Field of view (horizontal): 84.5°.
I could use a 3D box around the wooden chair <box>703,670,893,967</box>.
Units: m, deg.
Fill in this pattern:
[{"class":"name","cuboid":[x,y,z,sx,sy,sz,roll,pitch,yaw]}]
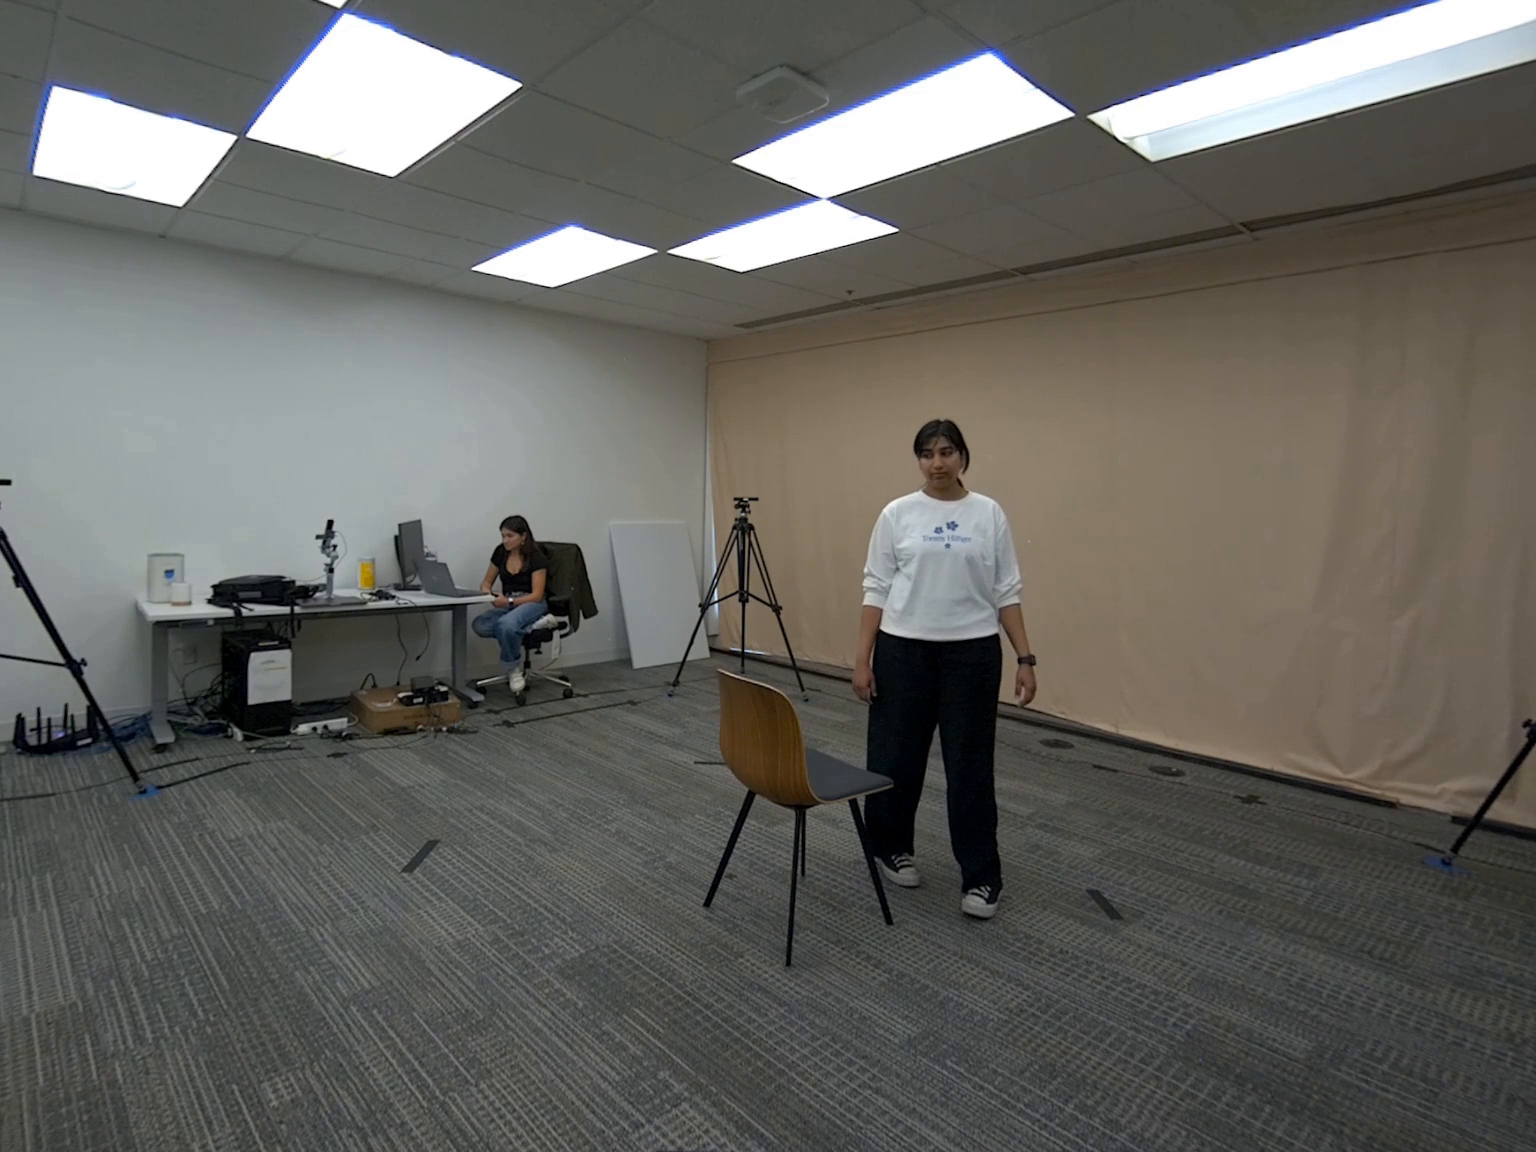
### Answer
[{"class":"wooden chair","cuboid":[0.106,0.715,2.794,0.512,0.873,0.490,-6,7,-37]}]
